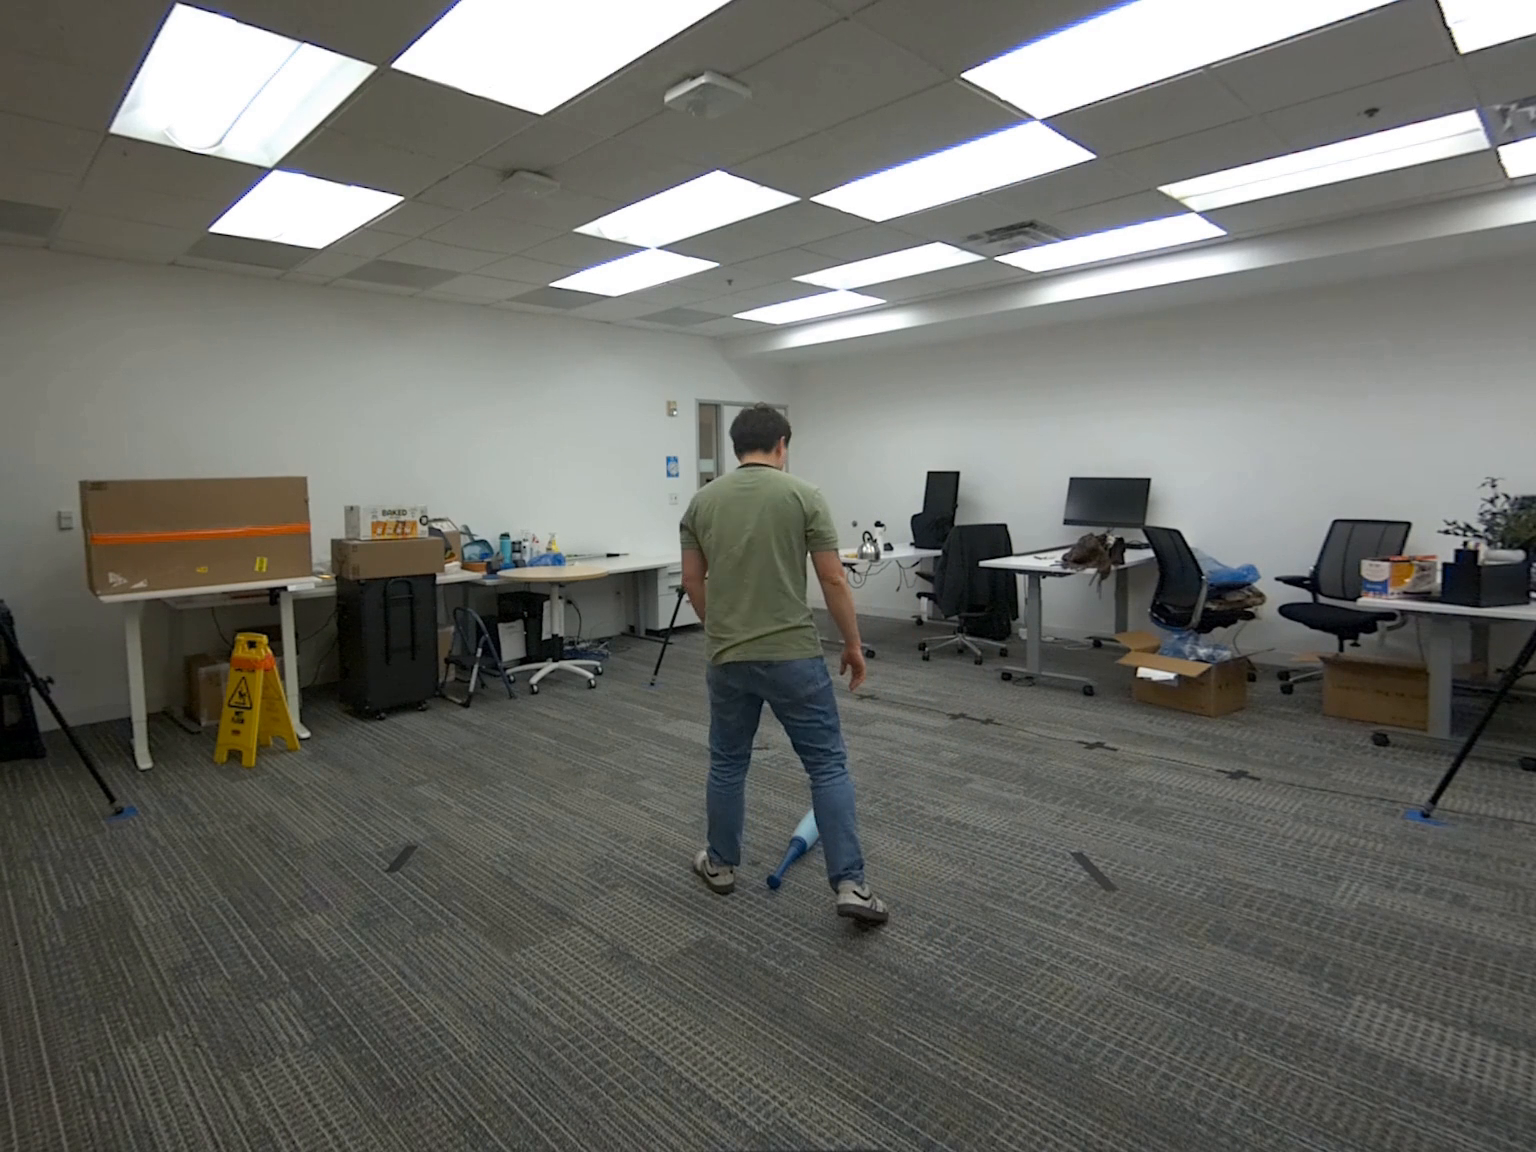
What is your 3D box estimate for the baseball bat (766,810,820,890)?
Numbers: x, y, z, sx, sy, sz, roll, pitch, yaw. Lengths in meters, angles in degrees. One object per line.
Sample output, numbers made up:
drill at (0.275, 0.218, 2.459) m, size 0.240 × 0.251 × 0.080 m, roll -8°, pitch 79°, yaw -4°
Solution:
baseball bat at (0.113, 1.000, 3.146) m, size 0.091 × 0.088 × 0.537 m, roll 1°, pitch 10°, yaw 18°
